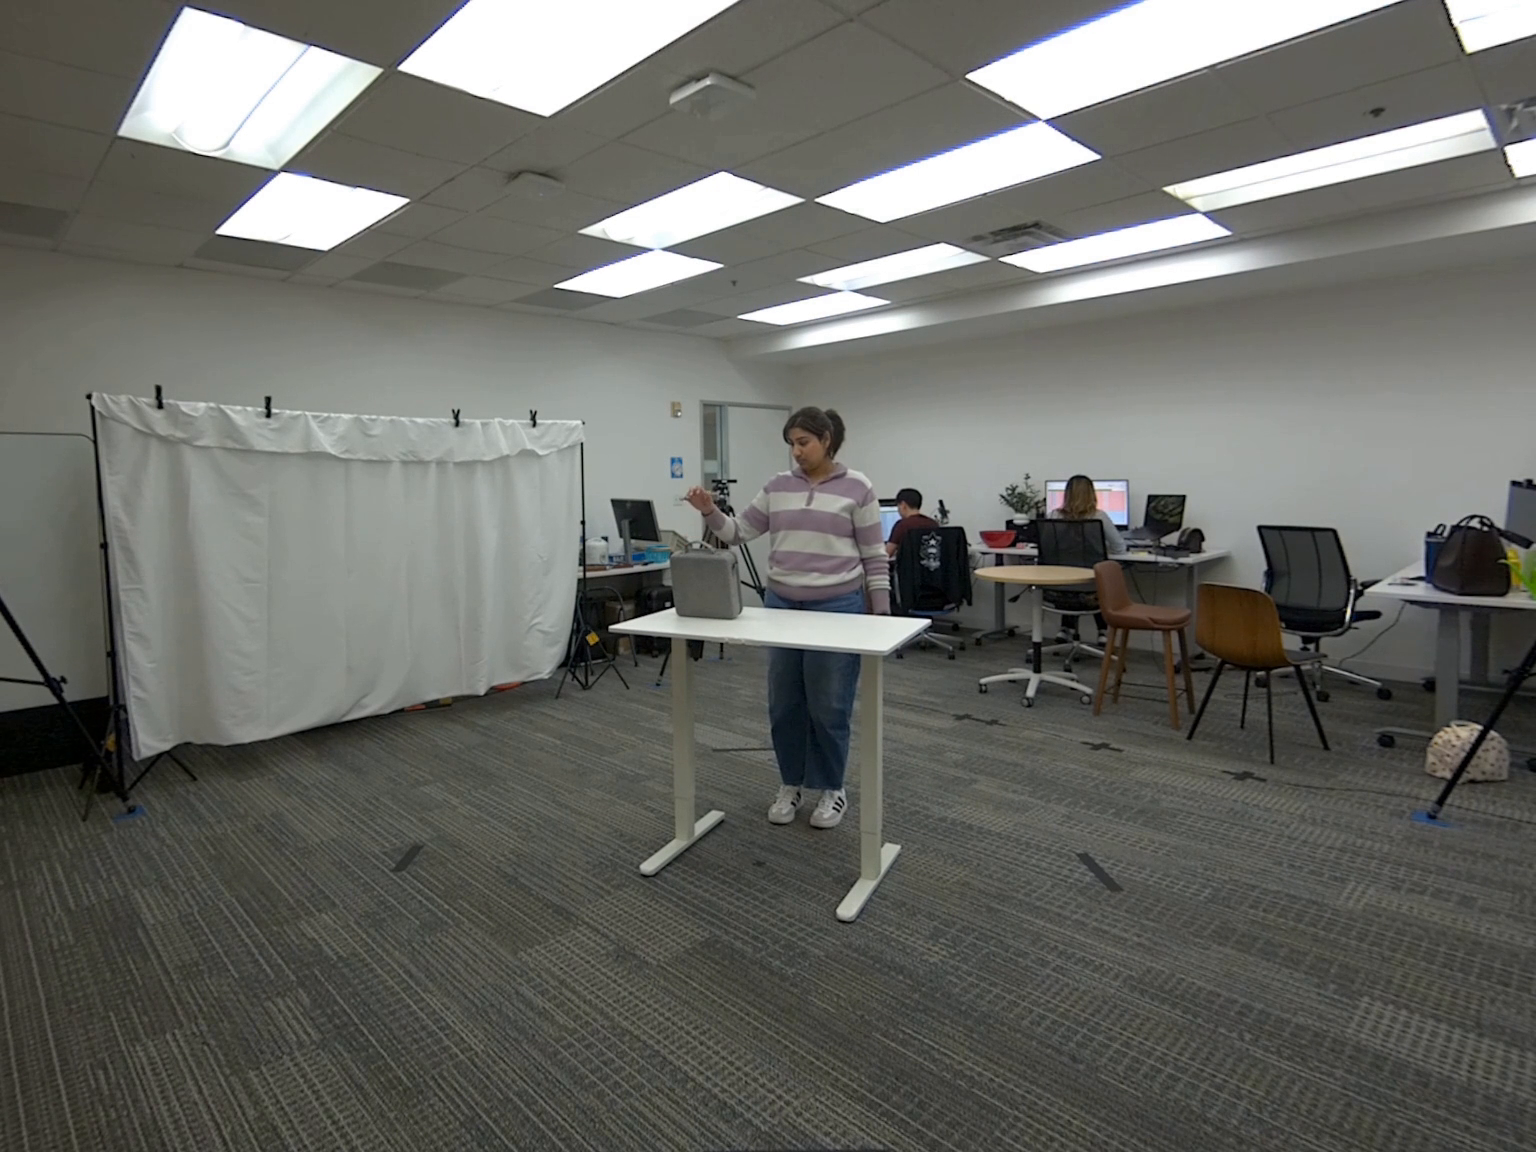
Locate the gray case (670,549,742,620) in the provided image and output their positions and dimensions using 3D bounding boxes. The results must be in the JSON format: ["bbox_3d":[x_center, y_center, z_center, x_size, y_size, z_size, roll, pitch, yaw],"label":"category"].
[{"bbox_3d":[-0.223,0.026,3.180,0.263,0.257,0.103,1,15,25],"label":"gray case"}]
